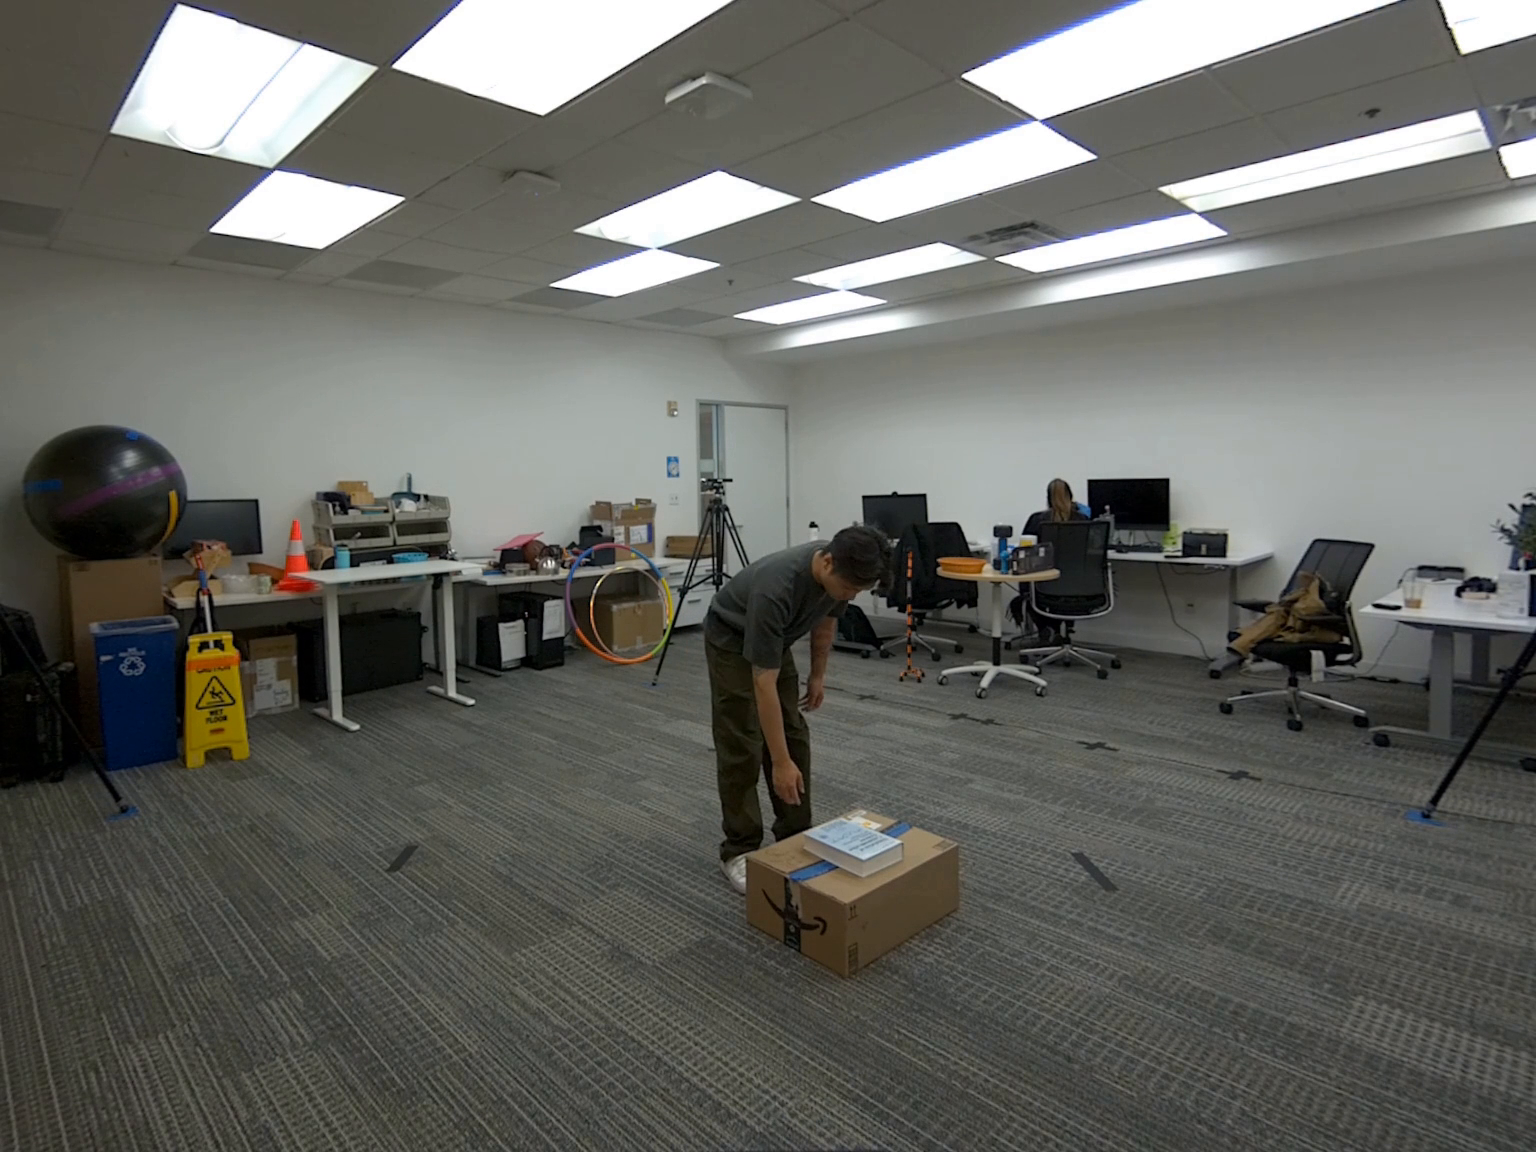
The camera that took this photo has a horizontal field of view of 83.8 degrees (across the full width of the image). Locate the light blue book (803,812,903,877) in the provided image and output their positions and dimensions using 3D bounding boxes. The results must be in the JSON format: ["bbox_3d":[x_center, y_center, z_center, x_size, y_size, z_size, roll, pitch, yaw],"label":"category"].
[{"bbox_3d":[0.270,0.849,2.688,0.186,0.059,0.269,-7,8,-39],"label":"light blue book"}]
